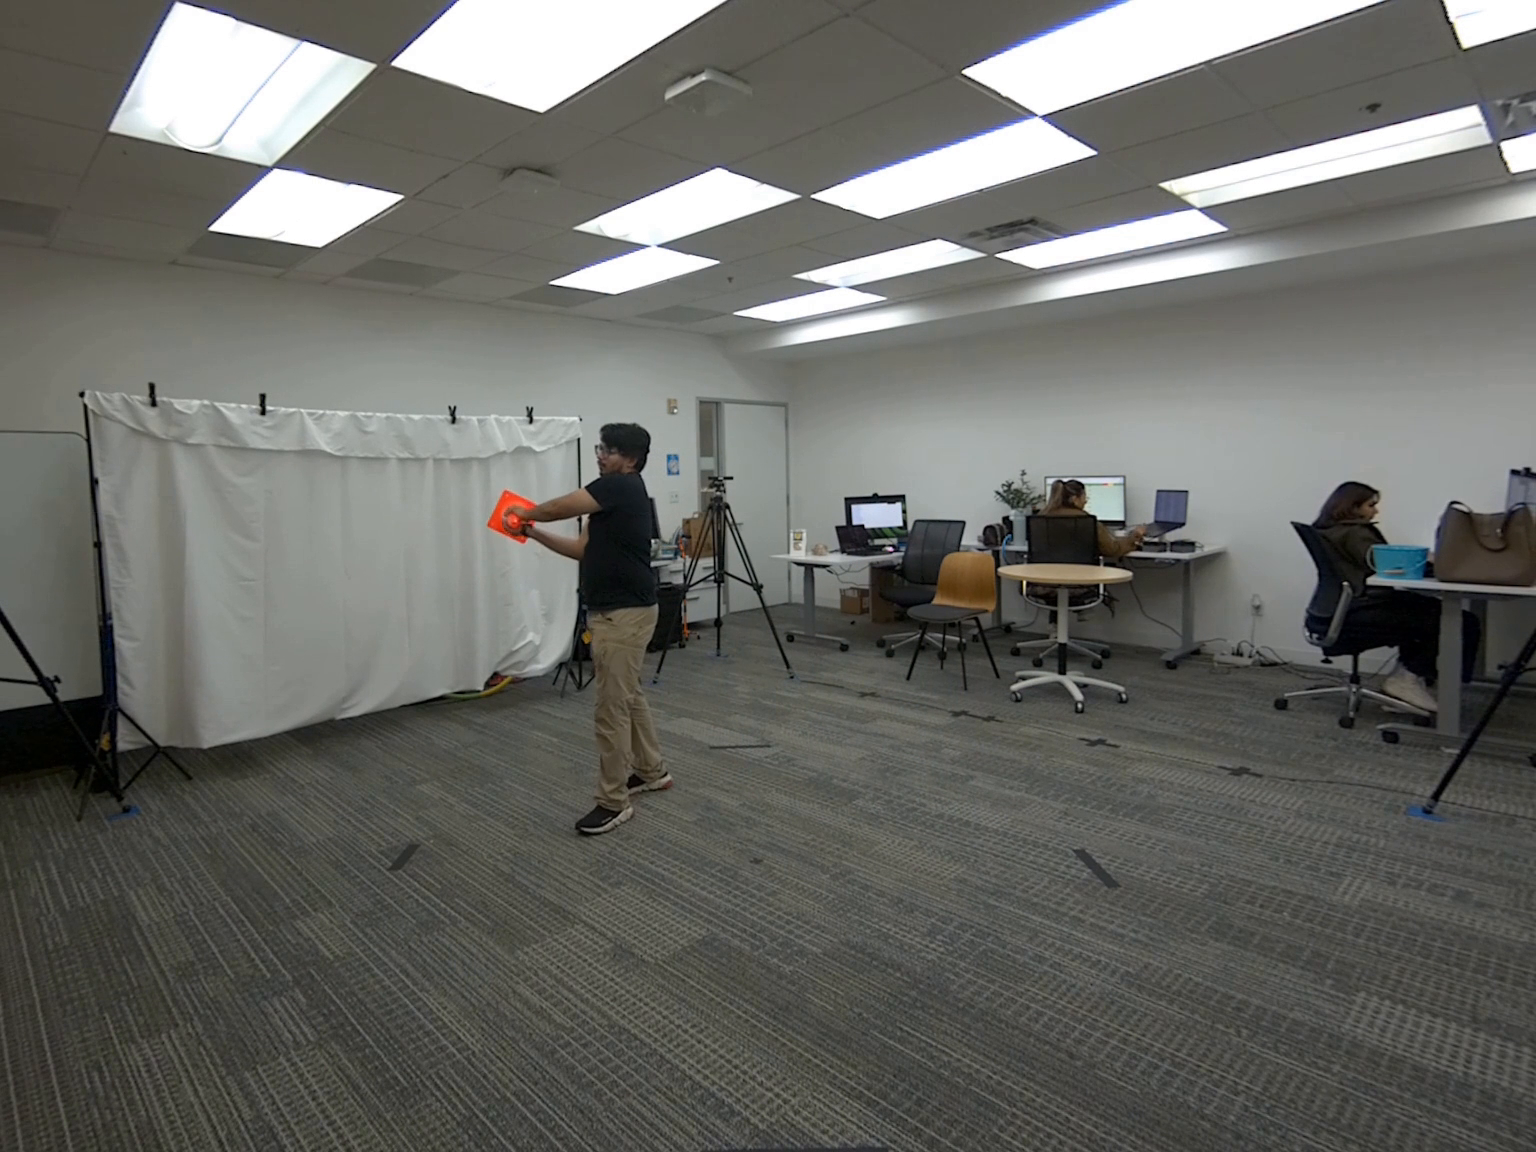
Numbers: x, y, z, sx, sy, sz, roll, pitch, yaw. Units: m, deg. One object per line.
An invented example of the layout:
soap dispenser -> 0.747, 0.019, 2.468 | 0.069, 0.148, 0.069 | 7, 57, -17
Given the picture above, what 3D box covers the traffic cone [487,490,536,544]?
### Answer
traffic cone -> -1.153, -0.243, 3.846 | 0.201, 0.203, 0.391 | 25, 0, -17
